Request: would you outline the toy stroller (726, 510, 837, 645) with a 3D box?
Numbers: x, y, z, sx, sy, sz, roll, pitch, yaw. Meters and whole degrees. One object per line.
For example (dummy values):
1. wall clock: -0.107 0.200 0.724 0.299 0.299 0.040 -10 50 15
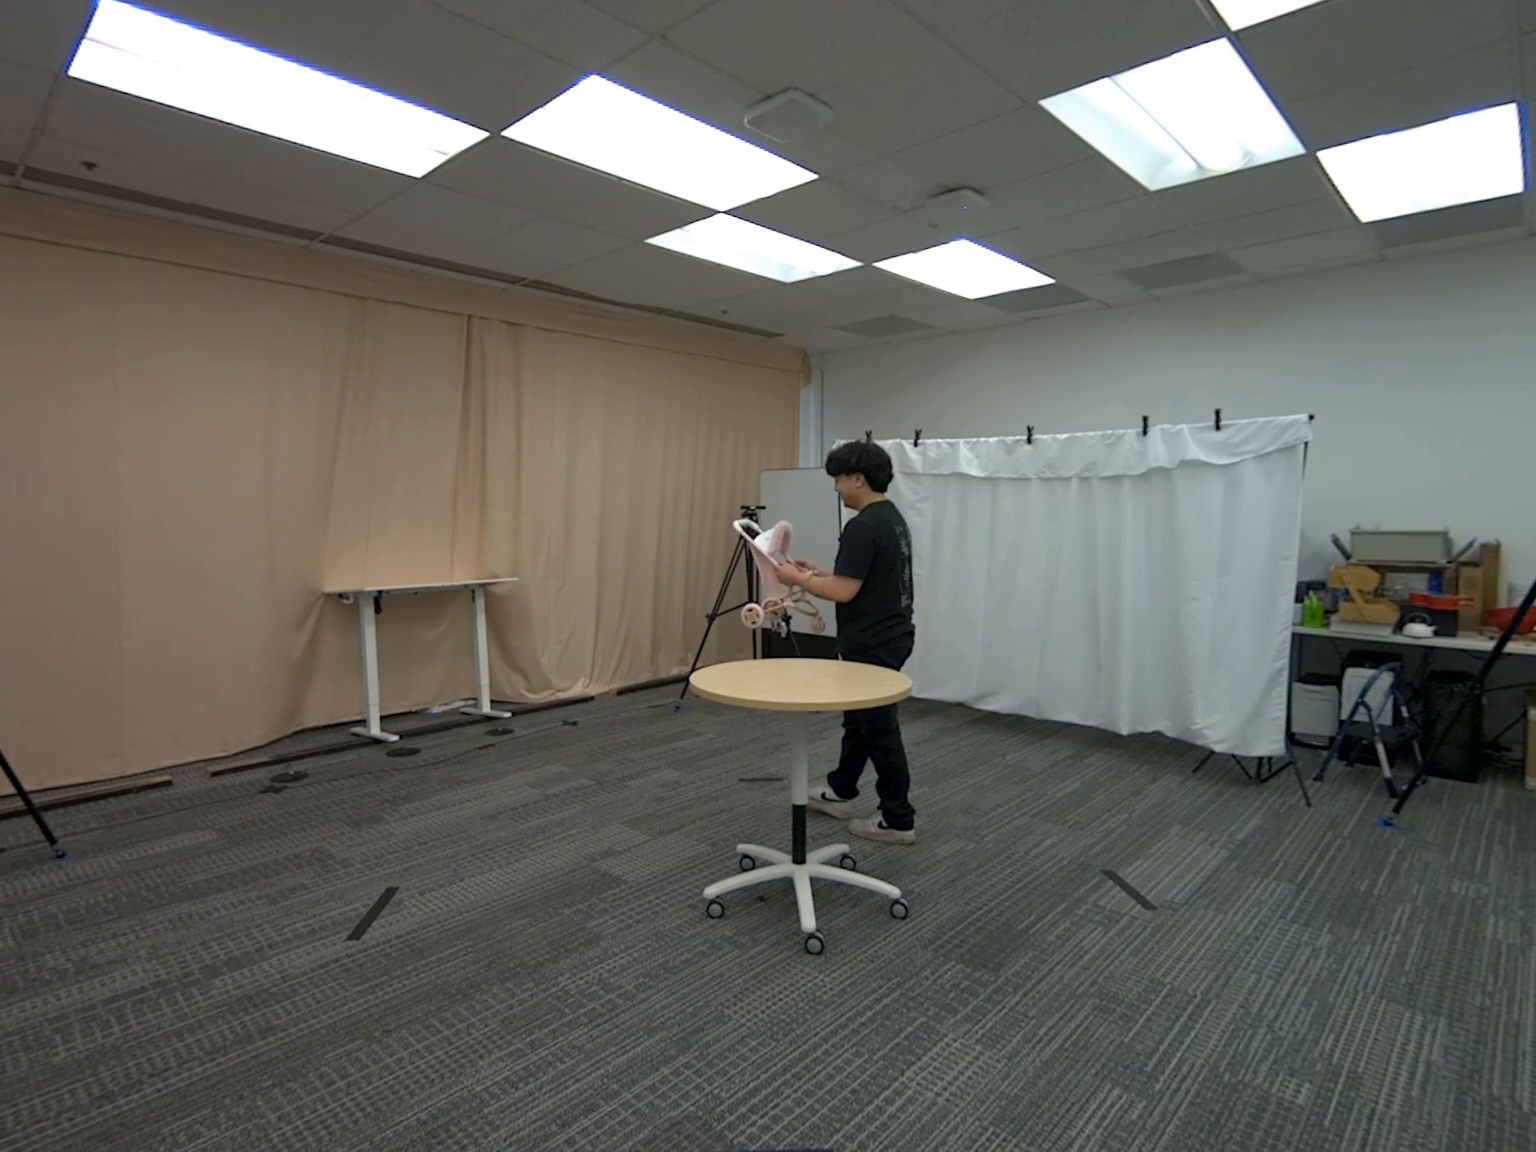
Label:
1. toy stroller: 0.063 0.001 3.711 0.350 0.535 0.274 -7 0 28
